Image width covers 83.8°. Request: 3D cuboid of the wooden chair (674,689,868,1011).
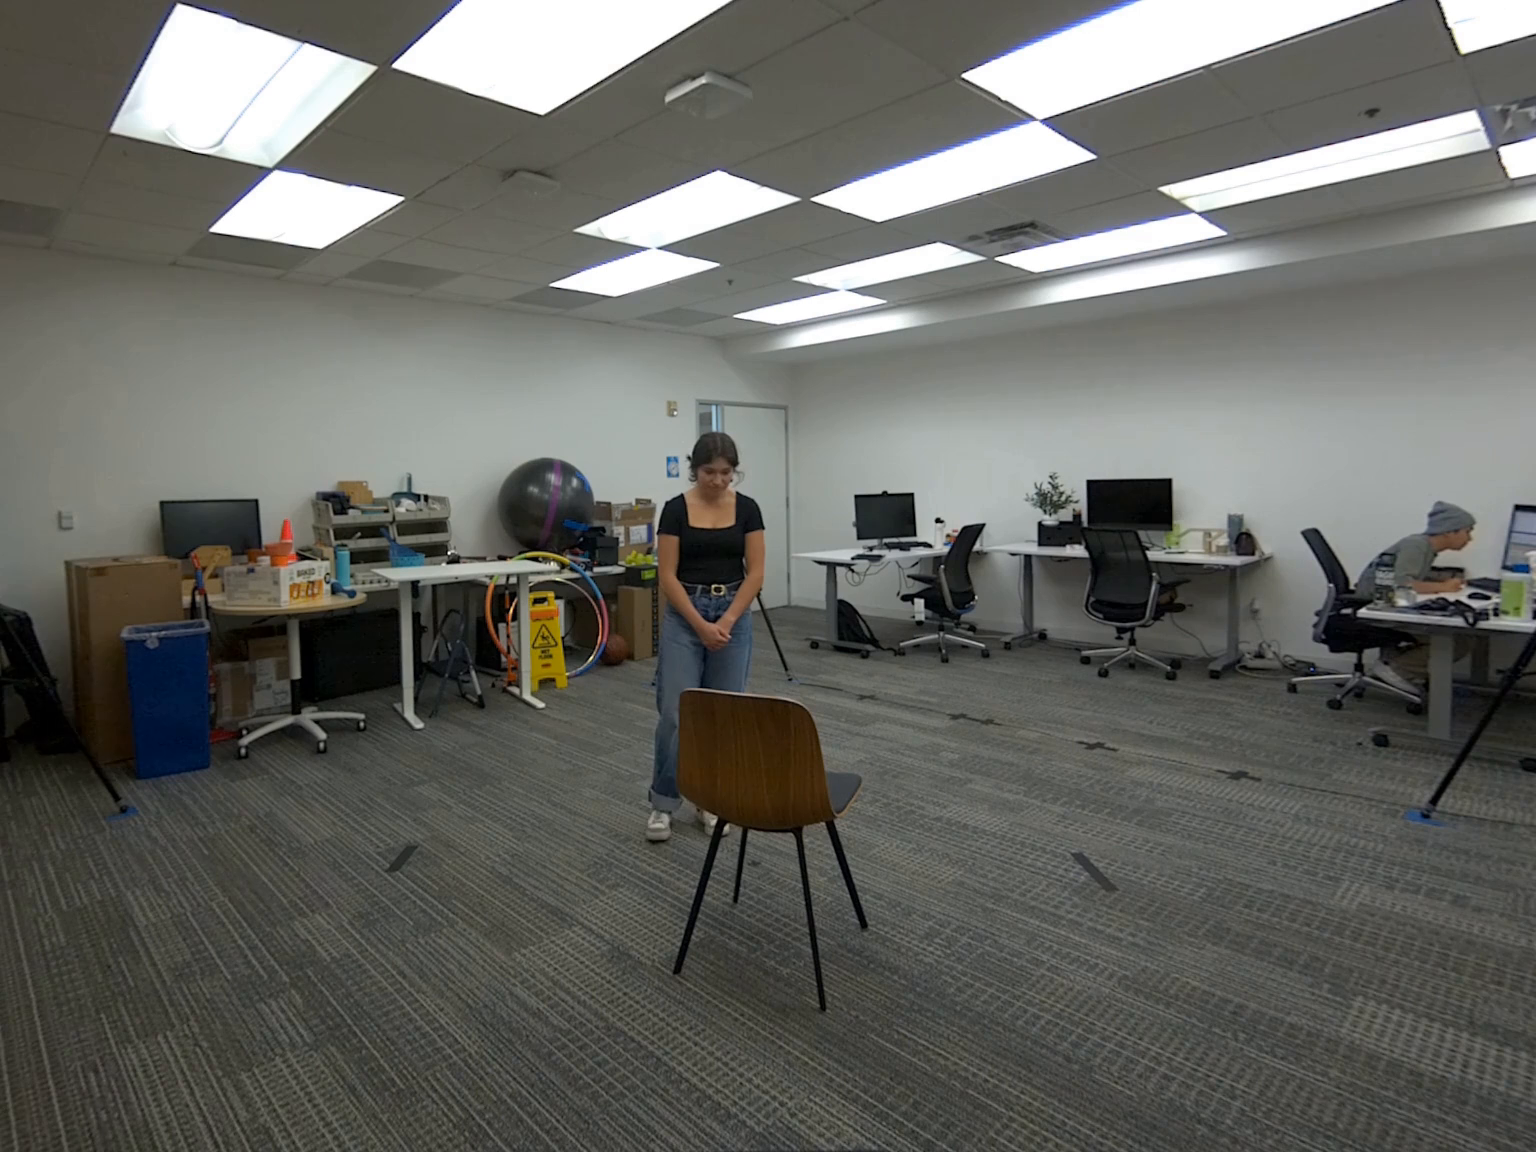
[{"bbox_3d":[0.017,0.687,2.510,0.488,0.870,0.516,1,9,23],"label":"wooden chair"}]
